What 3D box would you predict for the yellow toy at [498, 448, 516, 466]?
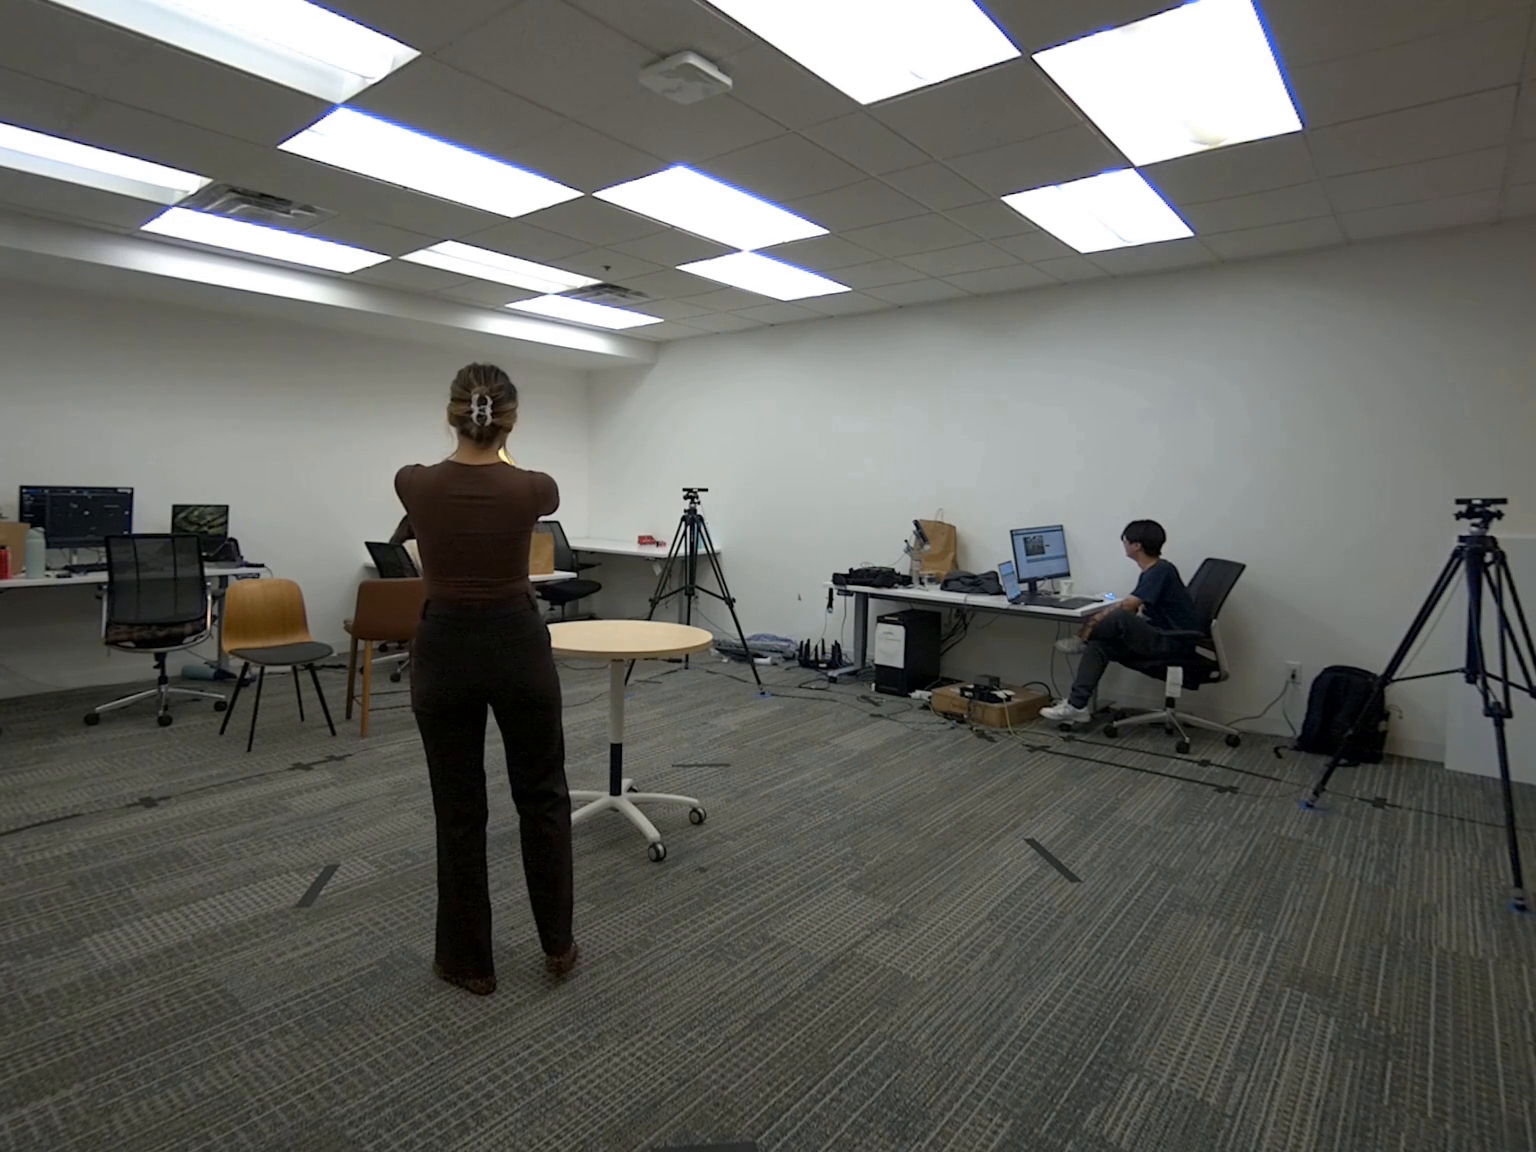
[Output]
[{"bbox_3d":[-0.904,-0.322,2.873,0.202,0.230,0.197,0,5,-14],"label":"yellow toy"}]
